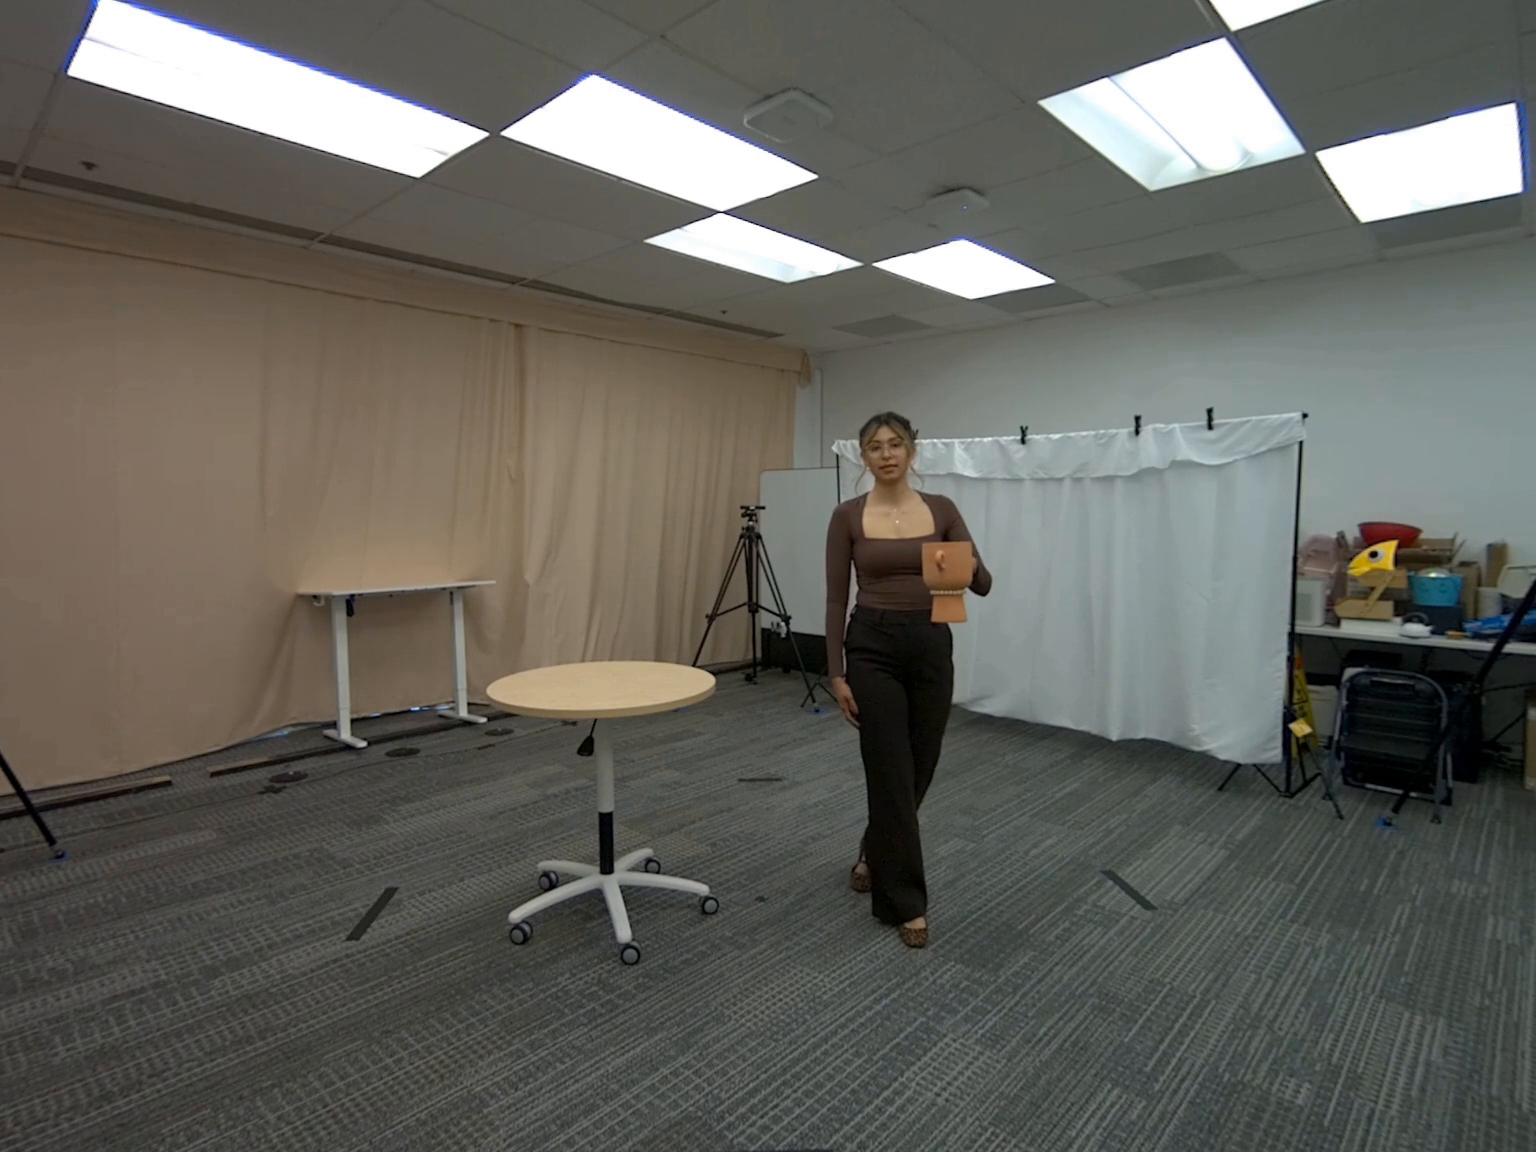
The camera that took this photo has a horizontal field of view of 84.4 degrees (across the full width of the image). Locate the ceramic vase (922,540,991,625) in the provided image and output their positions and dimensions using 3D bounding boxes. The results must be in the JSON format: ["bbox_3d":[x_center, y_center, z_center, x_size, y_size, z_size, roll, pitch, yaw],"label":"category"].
[{"bbox_3d":[0.503,0.015,2.353,0.155,0.220,0.138,-2,0,-24],"label":"ceramic vase"}]
